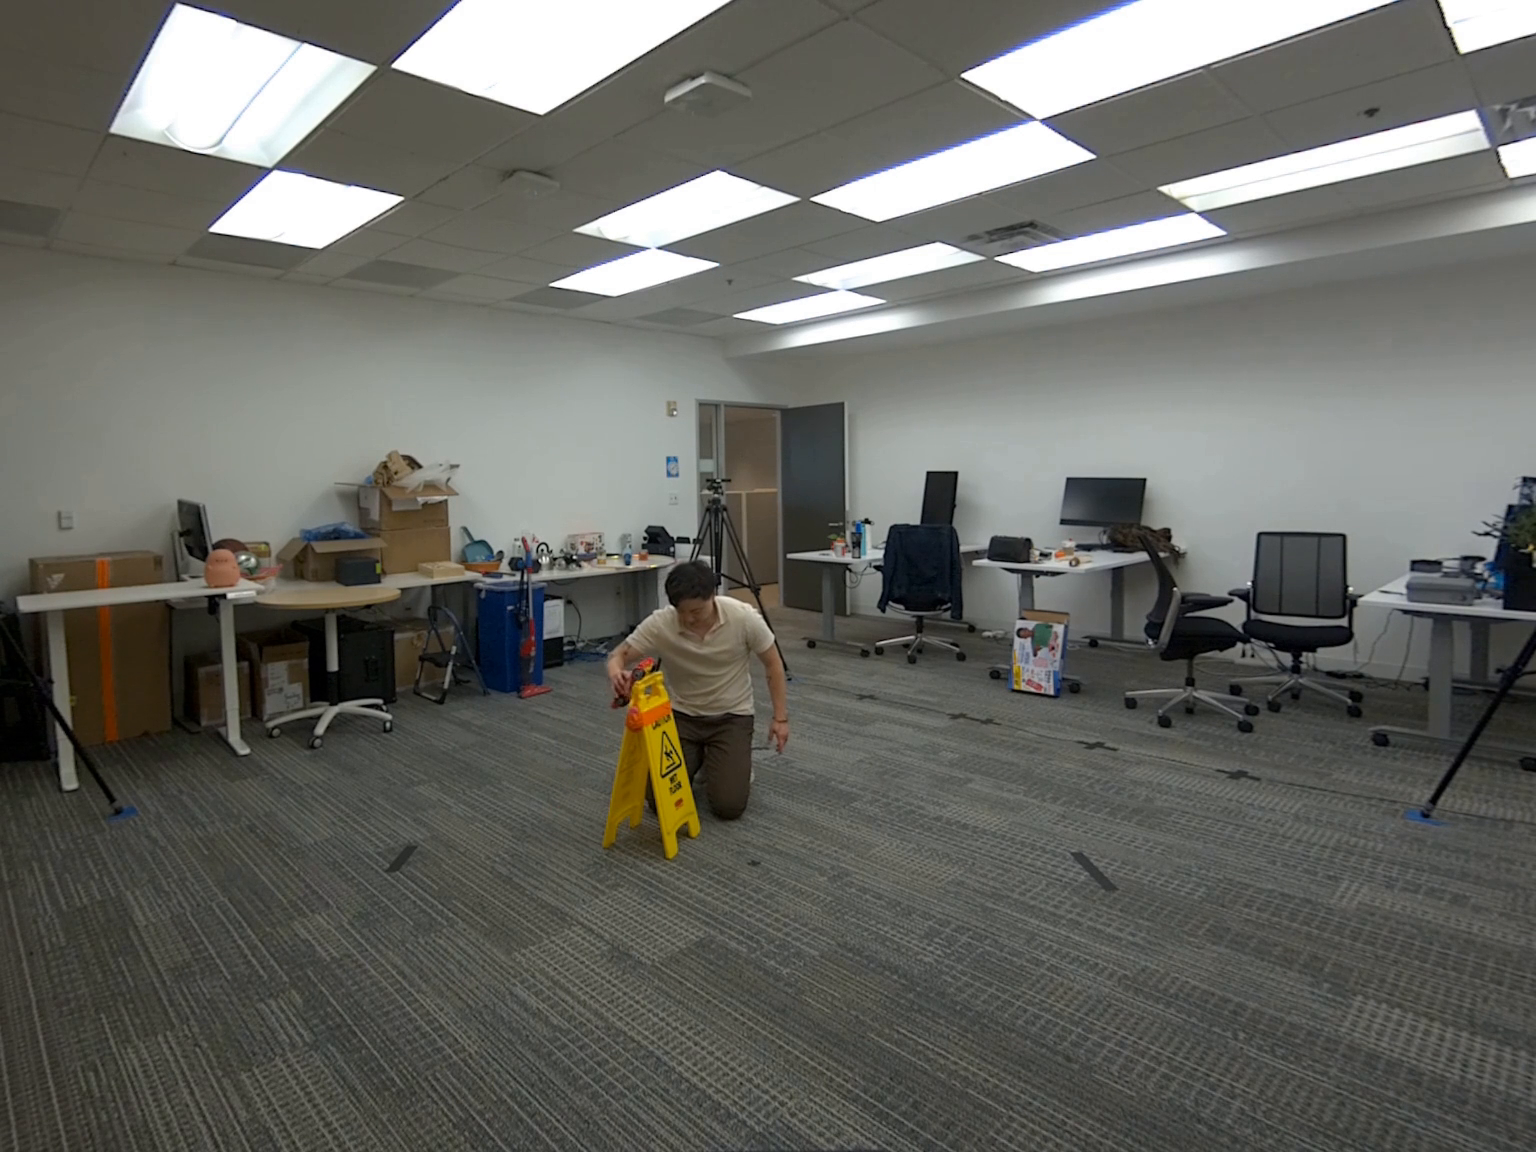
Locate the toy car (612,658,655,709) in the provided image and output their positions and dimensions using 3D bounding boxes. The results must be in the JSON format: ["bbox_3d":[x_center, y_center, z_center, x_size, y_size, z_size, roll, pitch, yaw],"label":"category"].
[{"bbox_3d":[-0.520,0.437,3.298,0.254,0.084,0.128,-47,-10,27],"label":"toy car"}]
